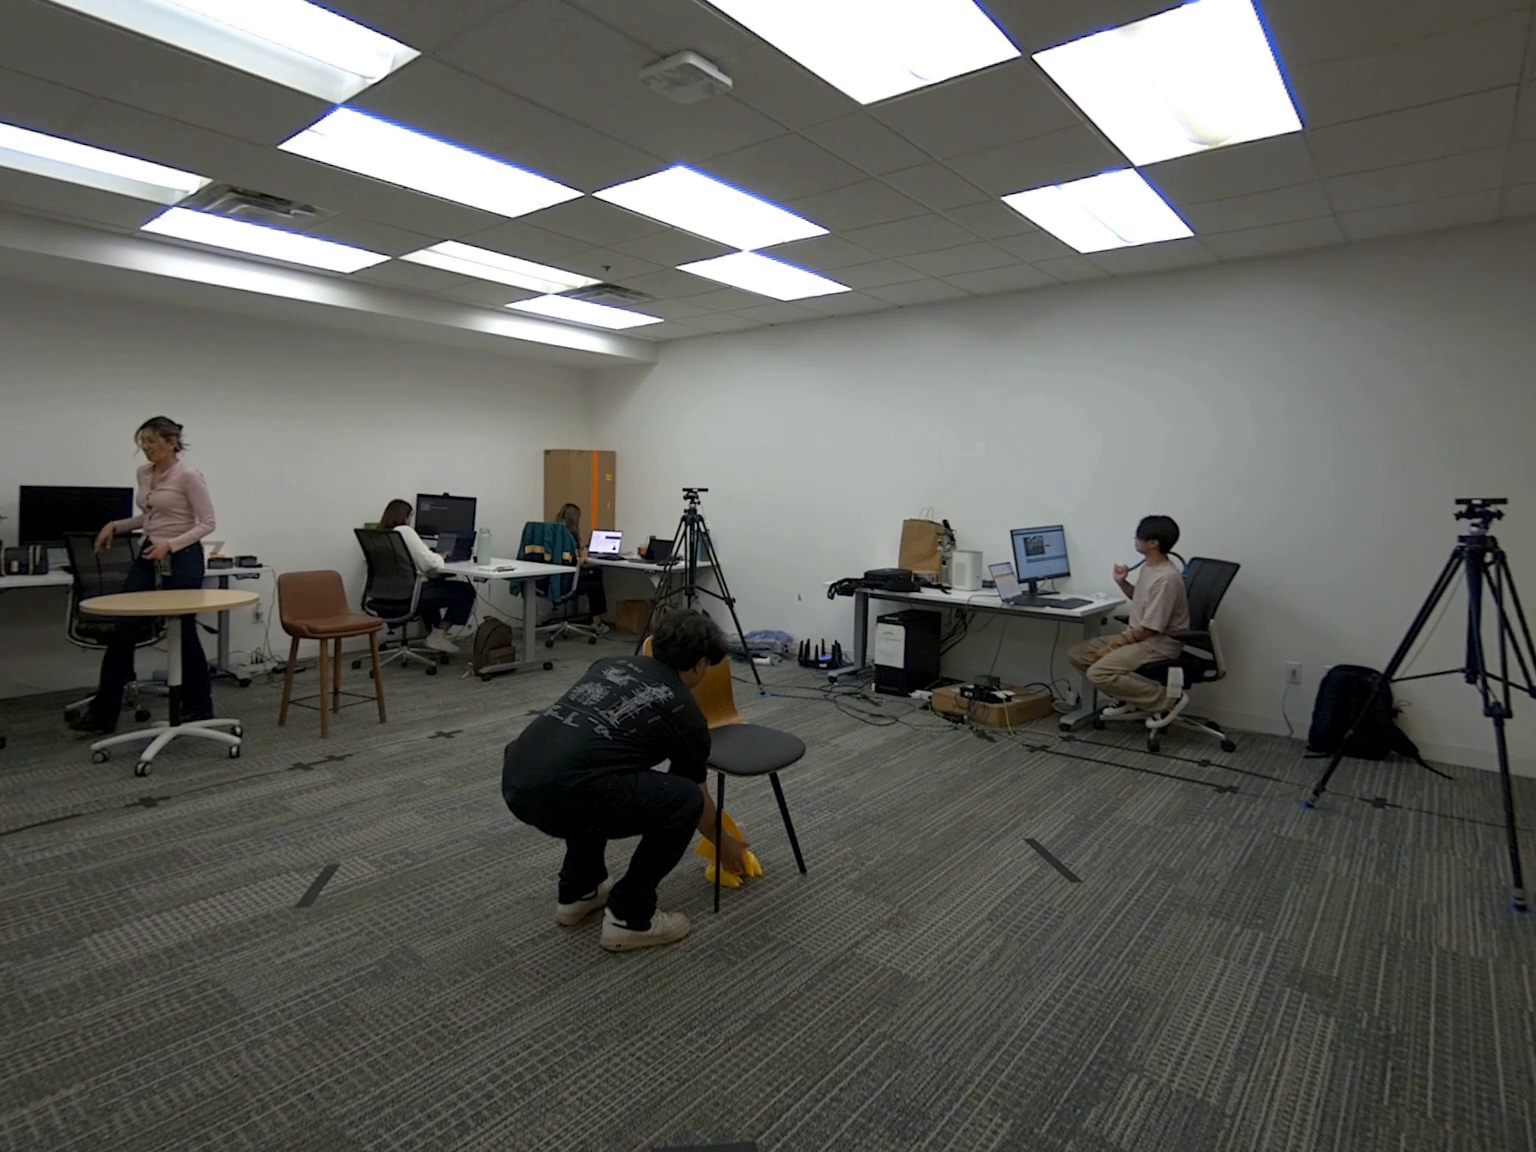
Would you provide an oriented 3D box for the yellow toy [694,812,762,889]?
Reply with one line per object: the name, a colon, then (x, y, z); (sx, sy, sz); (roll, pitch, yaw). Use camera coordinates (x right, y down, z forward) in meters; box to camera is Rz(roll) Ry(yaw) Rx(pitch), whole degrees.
yellow toy: (-0.141, 0.962, 3.074); (0.200, 0.229, 0.199); (6, 7, 41)
